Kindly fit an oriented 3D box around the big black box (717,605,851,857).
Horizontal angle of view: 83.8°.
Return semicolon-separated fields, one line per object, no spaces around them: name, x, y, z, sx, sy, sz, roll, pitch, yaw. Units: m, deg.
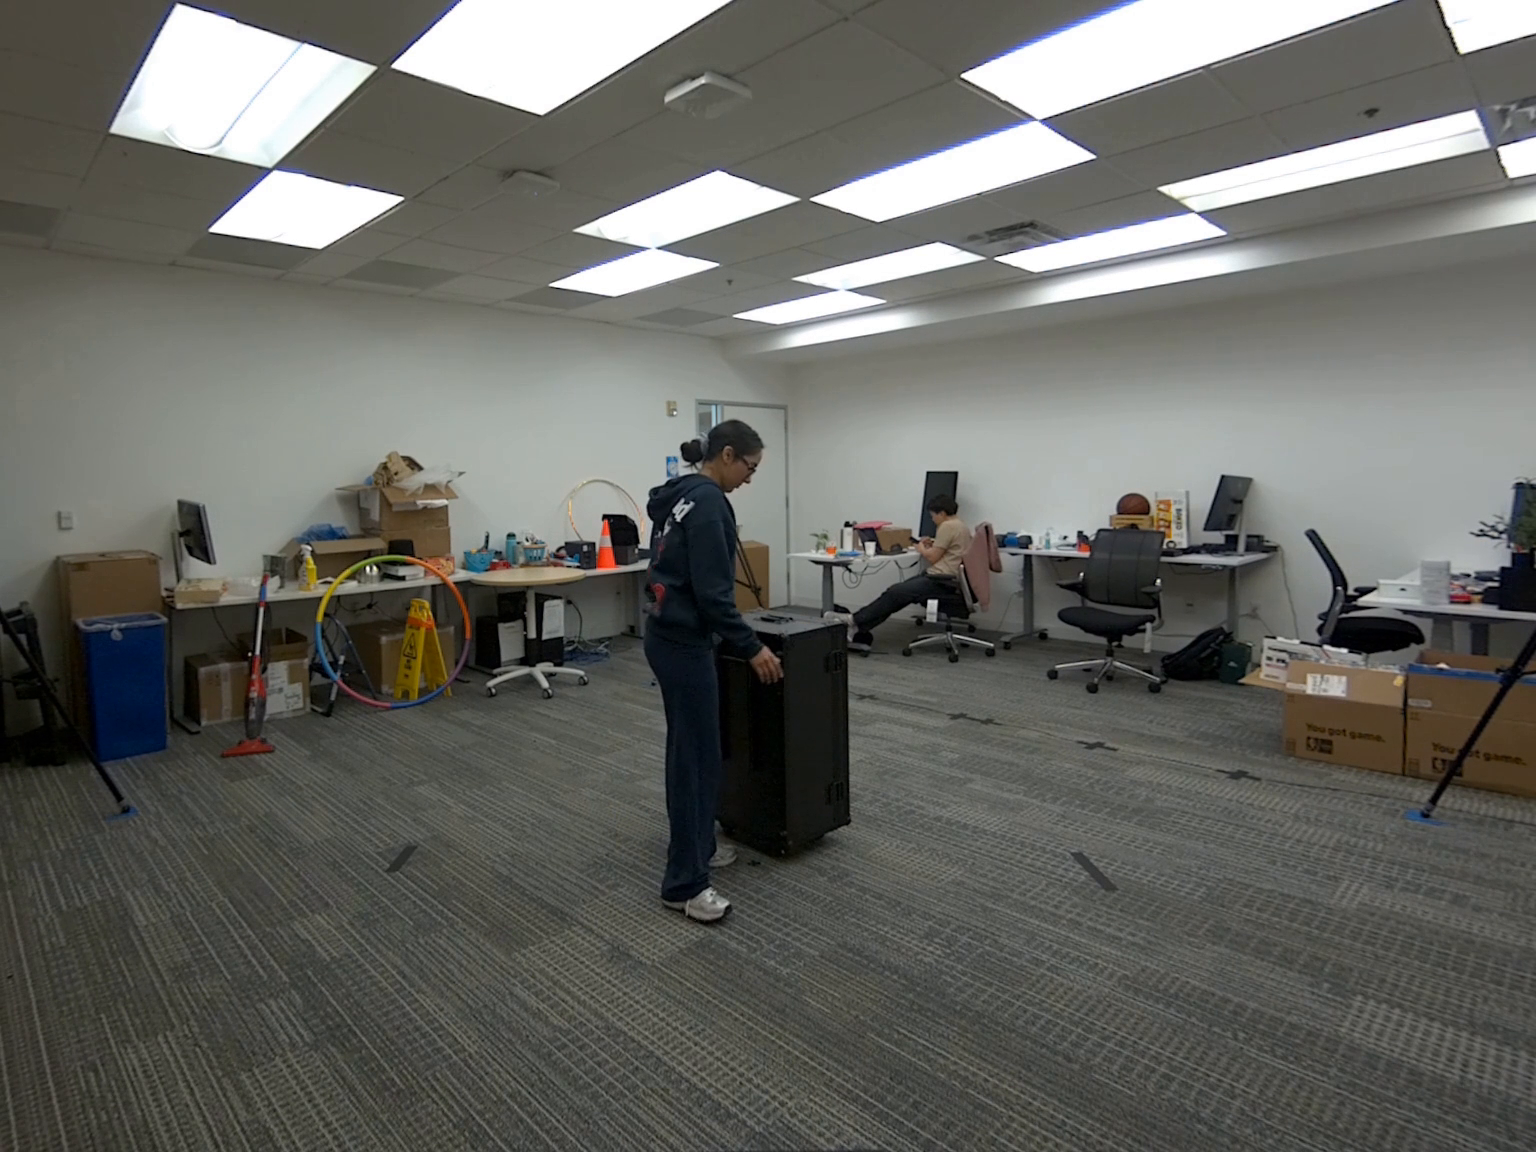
big black box;0.016;0.598;3.308;0.386;0.857;0.537;-7;7;-43
